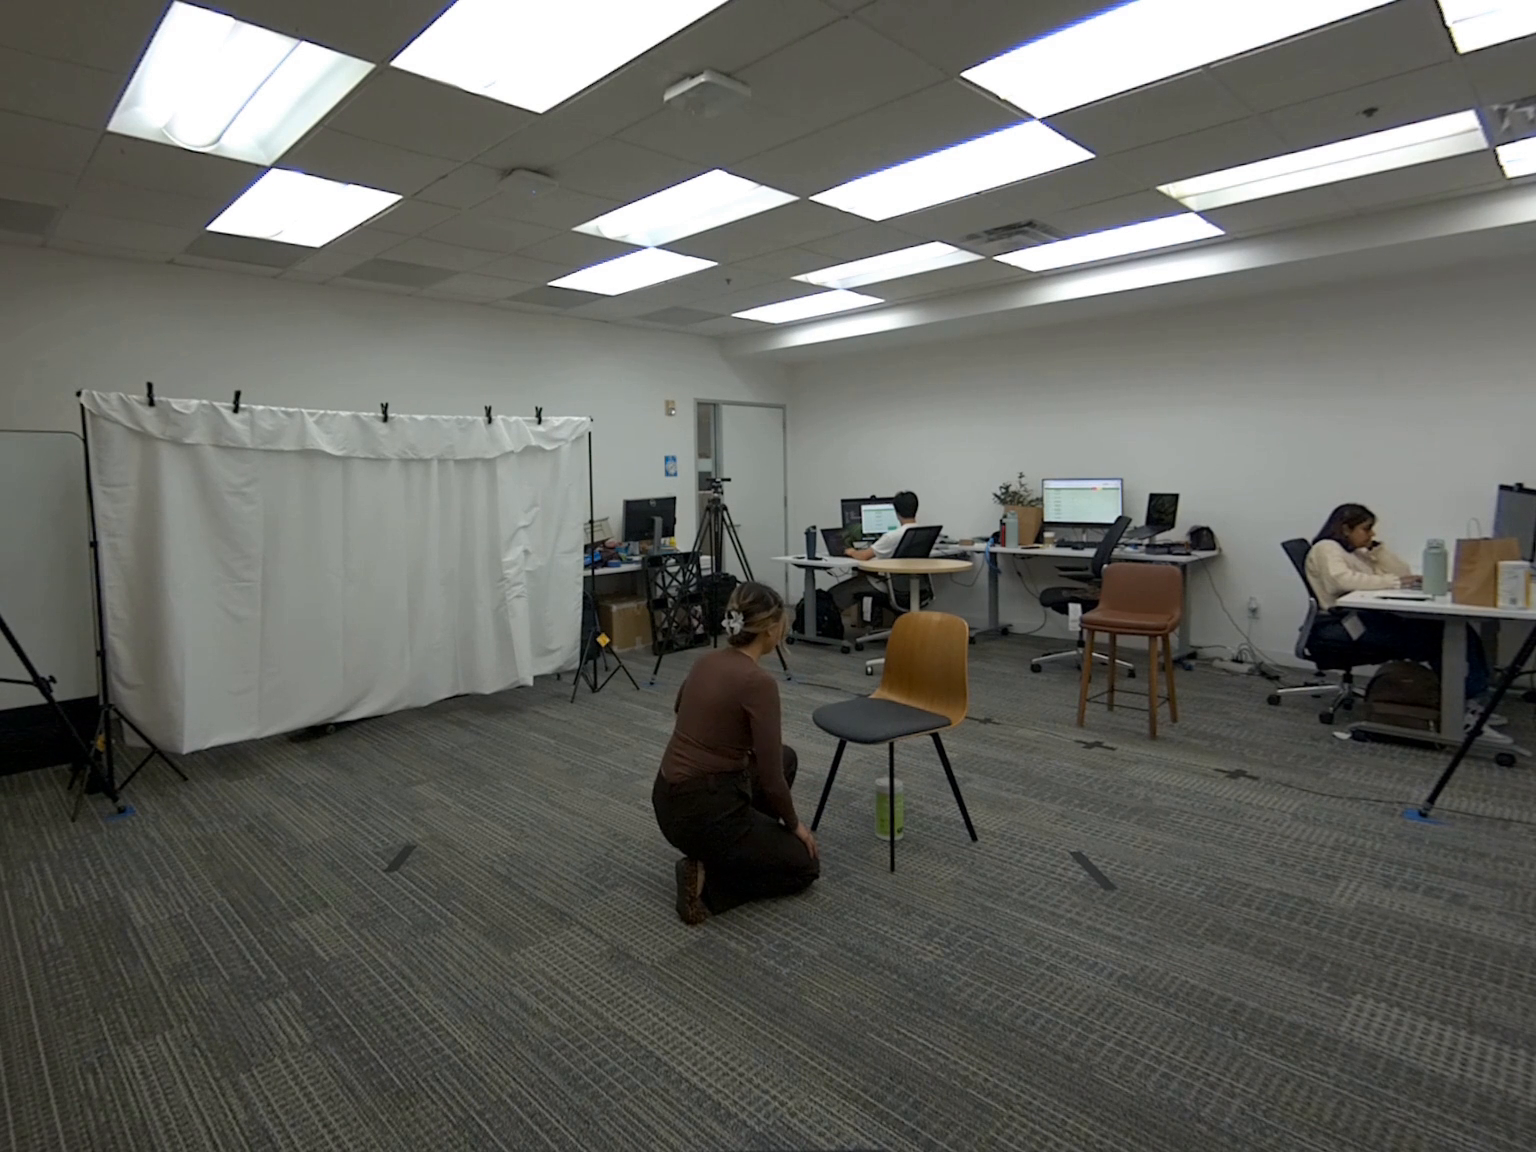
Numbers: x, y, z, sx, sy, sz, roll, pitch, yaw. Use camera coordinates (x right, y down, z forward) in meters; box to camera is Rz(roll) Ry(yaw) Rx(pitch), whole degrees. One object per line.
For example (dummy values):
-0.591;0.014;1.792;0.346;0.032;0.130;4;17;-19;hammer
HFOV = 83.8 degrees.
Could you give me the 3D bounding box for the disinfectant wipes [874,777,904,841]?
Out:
0.477;0.911;3.309;0.118;0.216;0.118;-2;4;-1;disinfectant wipes
